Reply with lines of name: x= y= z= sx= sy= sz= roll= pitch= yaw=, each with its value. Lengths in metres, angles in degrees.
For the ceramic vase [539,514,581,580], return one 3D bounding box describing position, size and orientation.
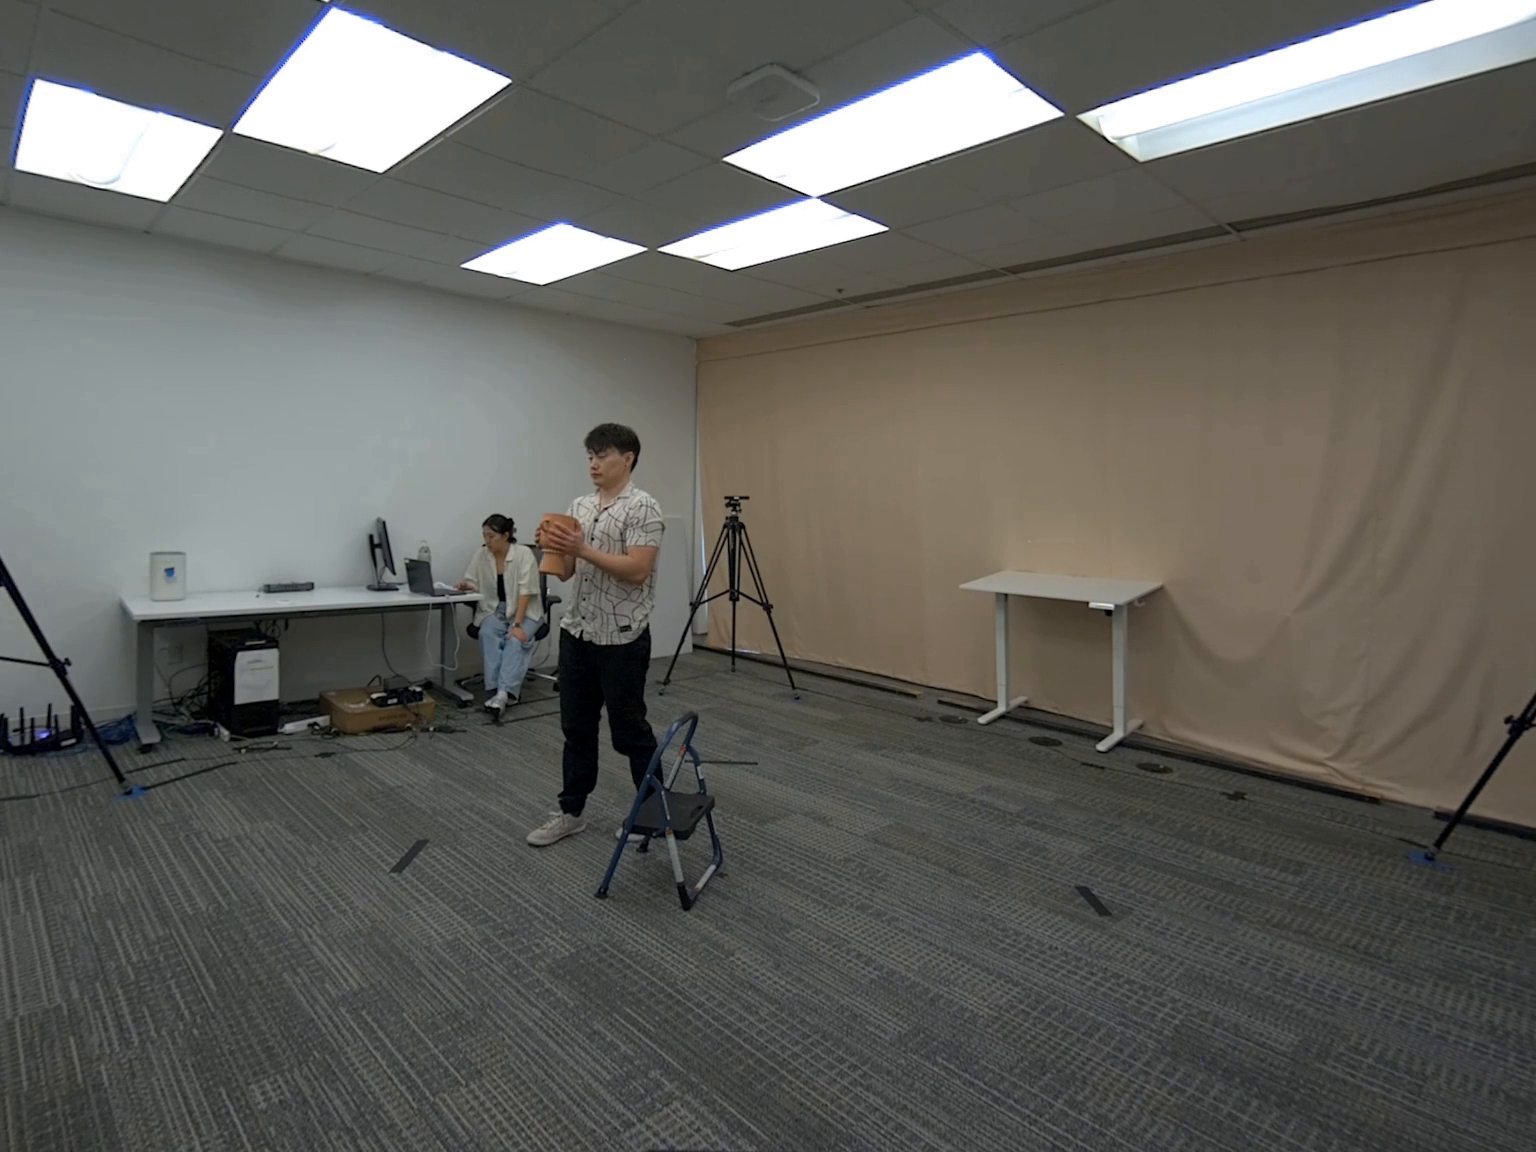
ceramic vase: x=-0.811 y=-0.118 z=3.196 sx=0.156 sy=0.221 sz=0.136 roll=10 pitch=-7 yaw=-22
